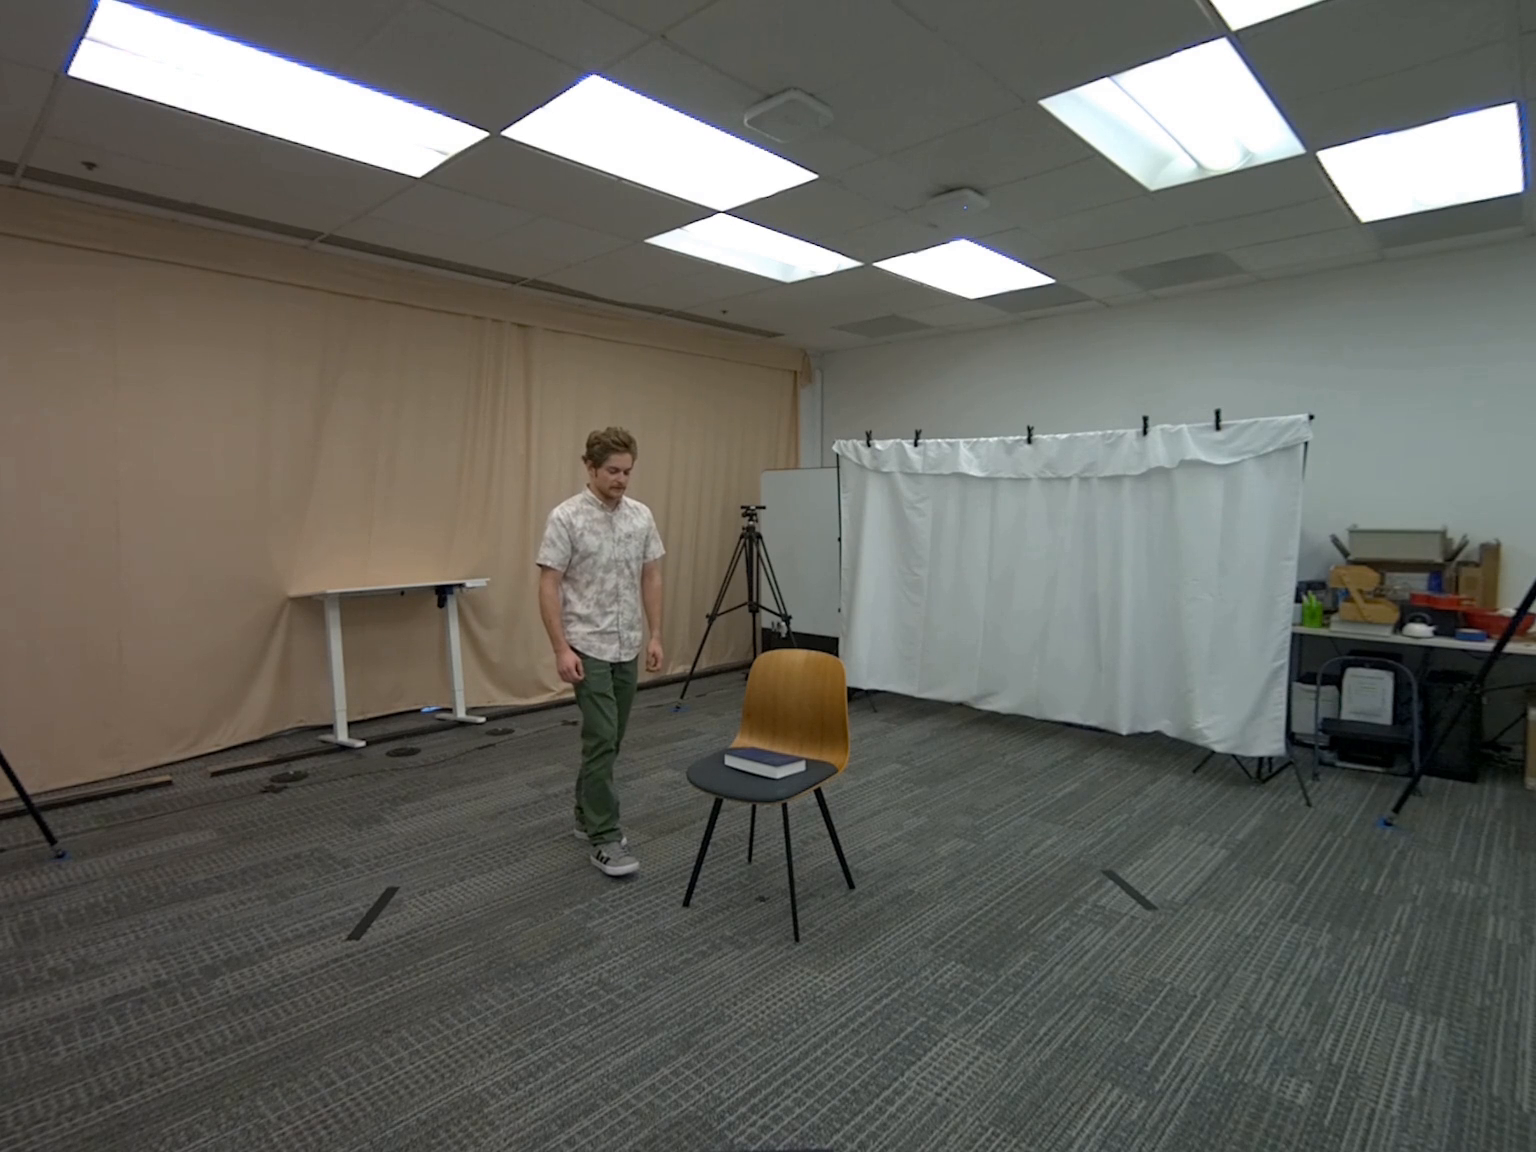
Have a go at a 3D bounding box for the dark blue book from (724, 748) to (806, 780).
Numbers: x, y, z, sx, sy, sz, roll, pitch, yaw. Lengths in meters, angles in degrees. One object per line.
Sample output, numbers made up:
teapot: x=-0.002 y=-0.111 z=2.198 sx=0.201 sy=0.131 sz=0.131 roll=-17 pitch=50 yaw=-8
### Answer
dark blue book: x=-0.009 y=0.642 z=2.924 sx=0.253 sy=0.045 sz=0.158 roll=3 pitch=3 yaw=41
